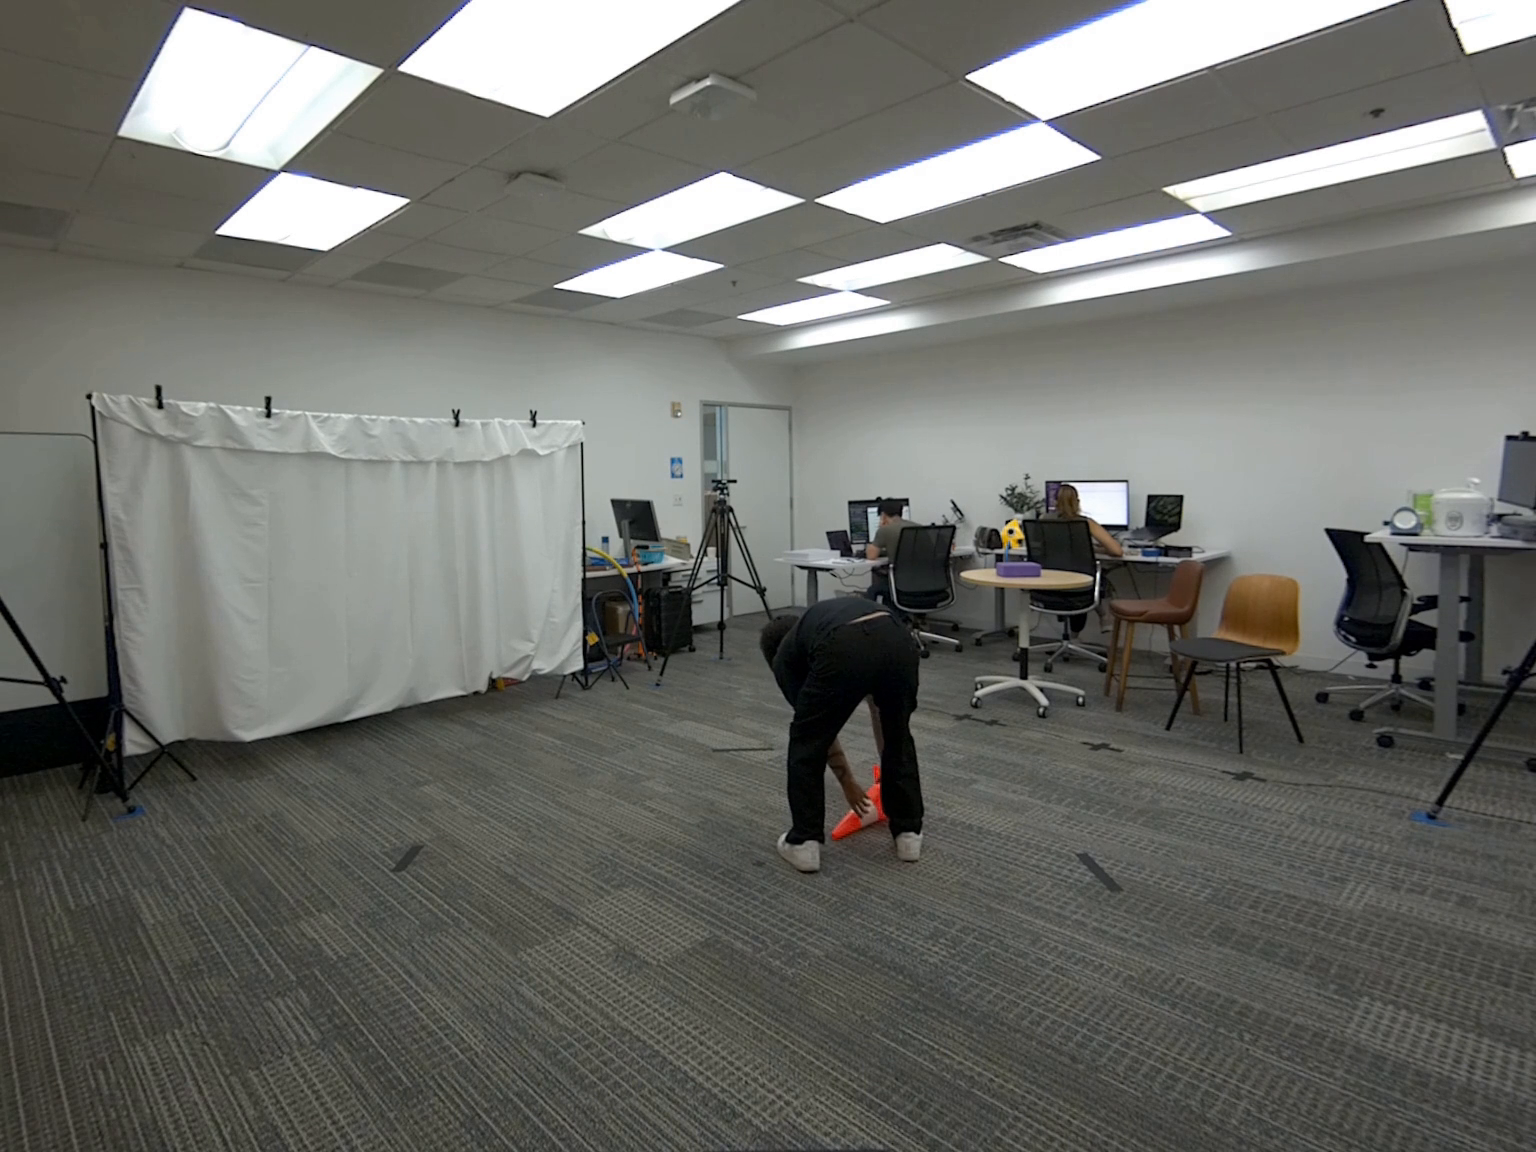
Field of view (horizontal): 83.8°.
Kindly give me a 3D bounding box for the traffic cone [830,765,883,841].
[{"bbox_3d":[0.387,0.951,3.427,0.377,0.201,0.211,-21,16,-38],"label":"traffic cone"}]
